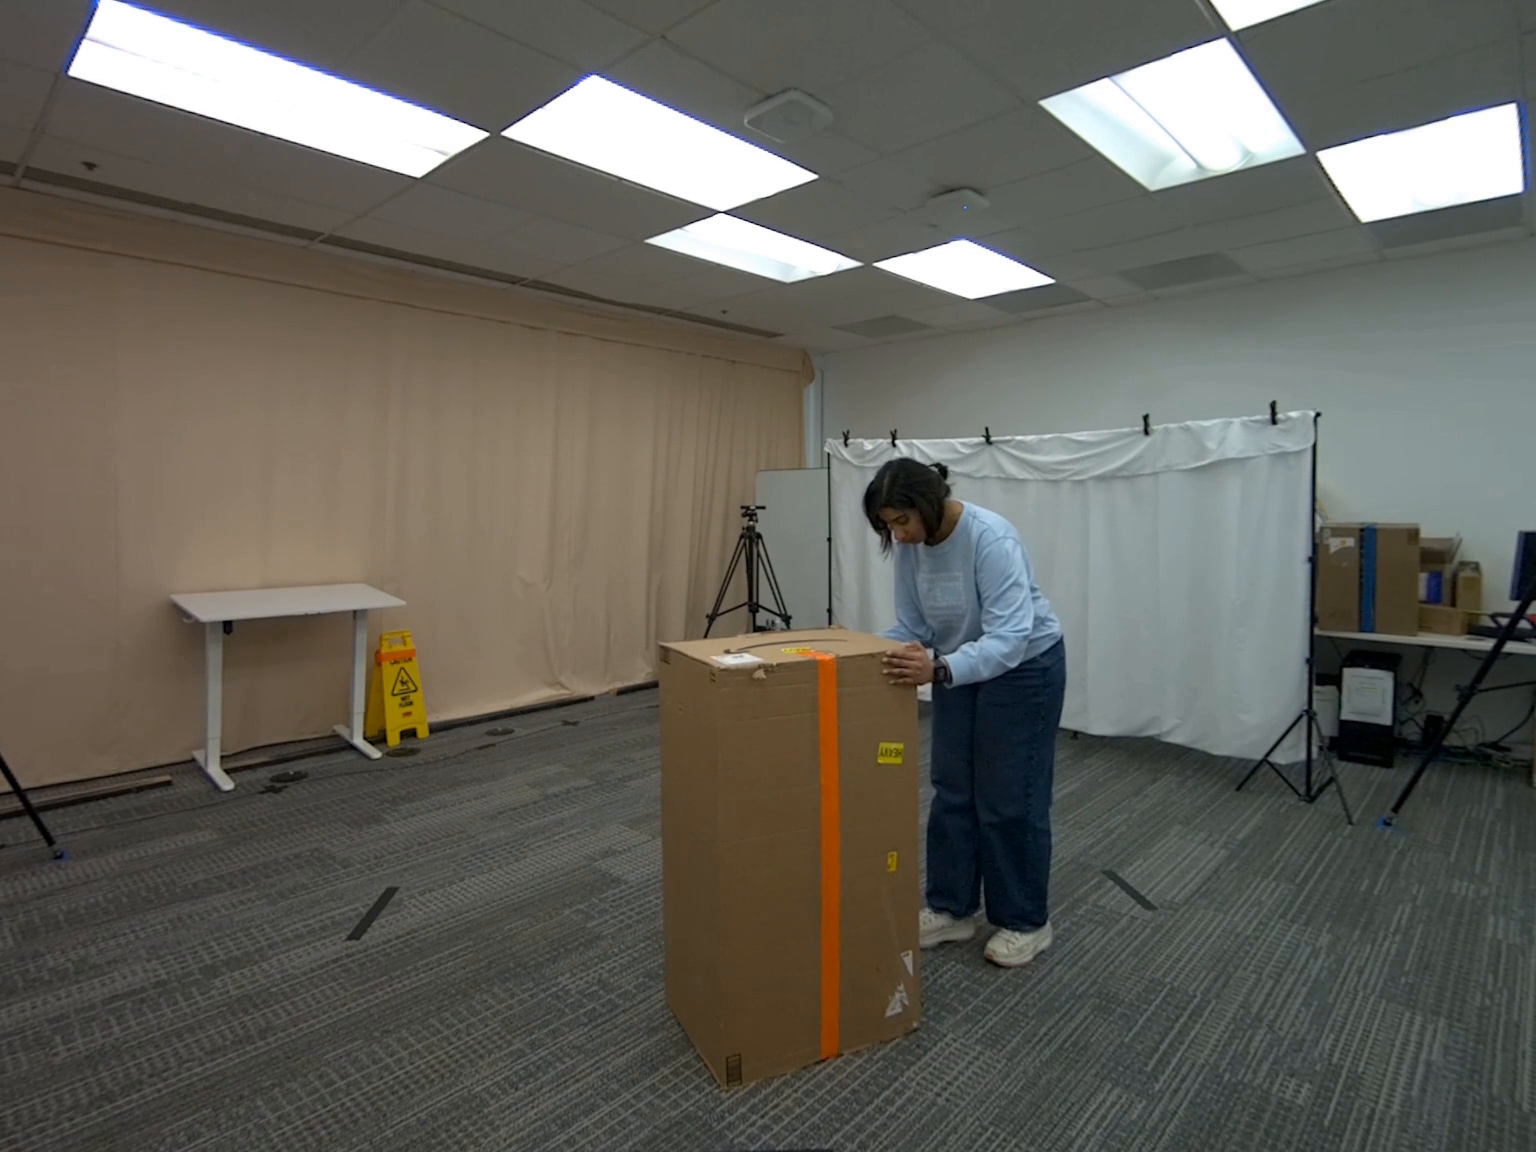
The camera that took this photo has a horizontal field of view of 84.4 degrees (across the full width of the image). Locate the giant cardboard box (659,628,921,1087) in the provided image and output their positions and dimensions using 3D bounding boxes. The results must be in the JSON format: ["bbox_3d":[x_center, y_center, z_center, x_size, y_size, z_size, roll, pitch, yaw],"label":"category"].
[{"bbox_3d":[0.053,0.698,2.282,0.563,1.024,0.437,-2,3,-26],"label":"giant cardboard box"}]
